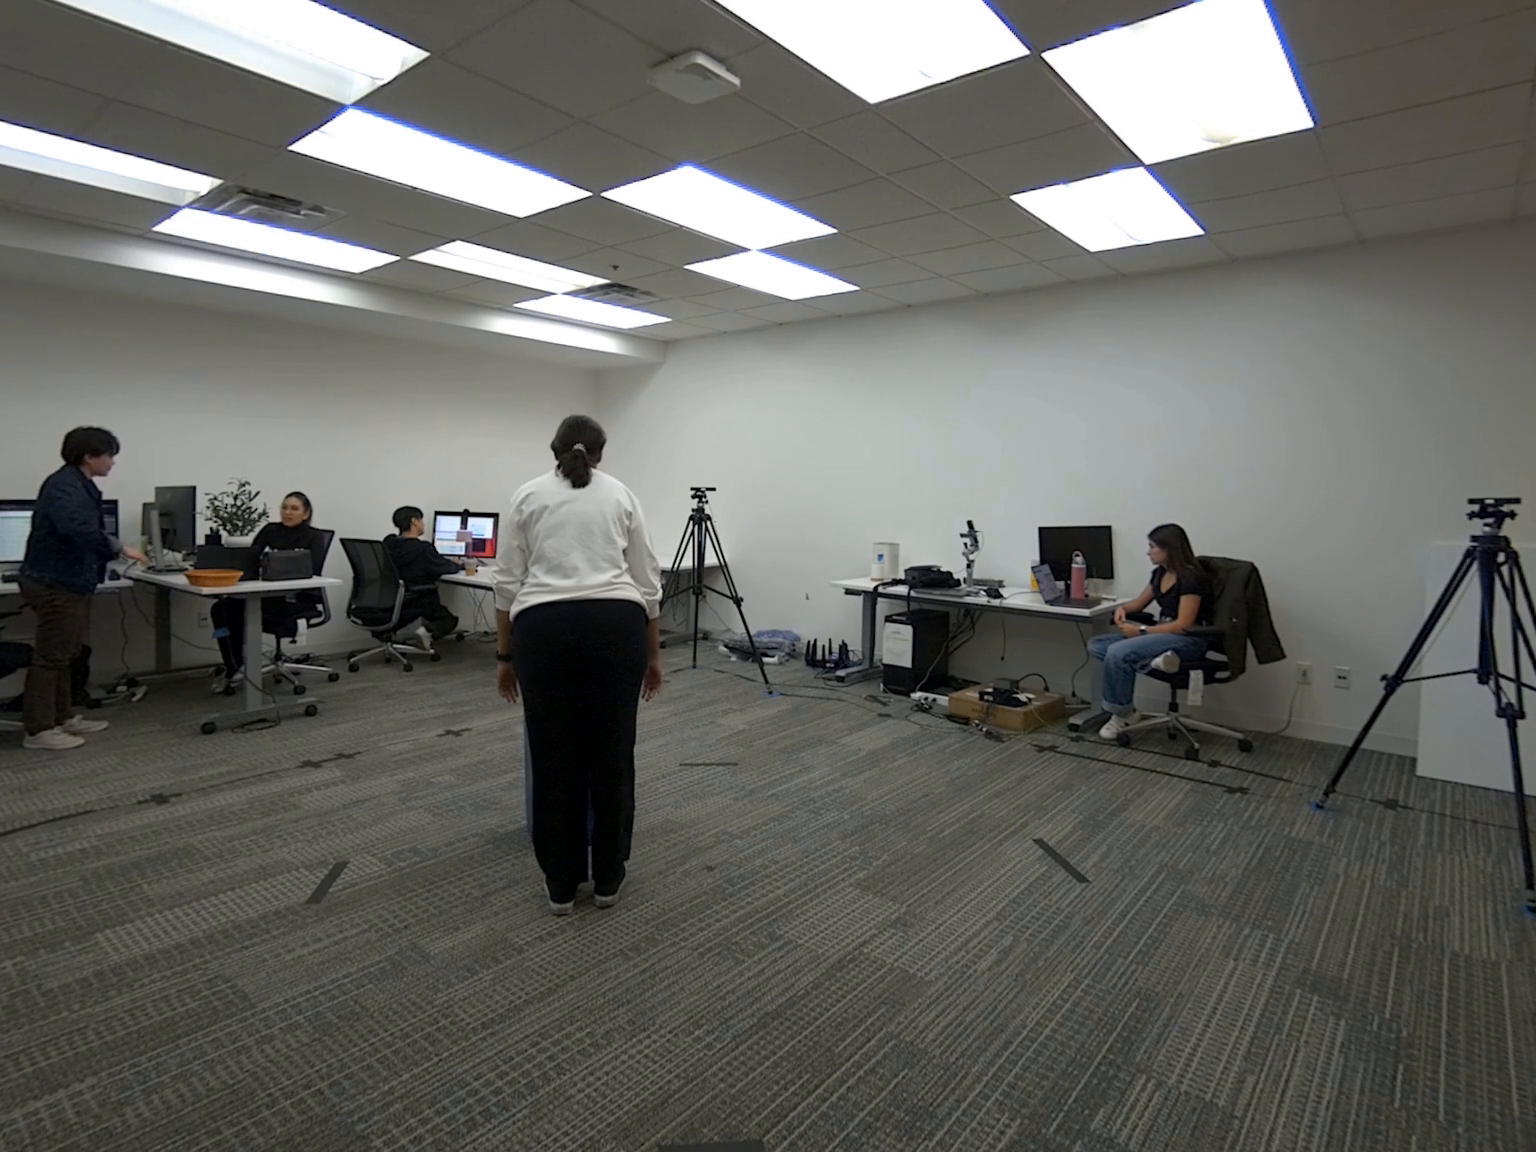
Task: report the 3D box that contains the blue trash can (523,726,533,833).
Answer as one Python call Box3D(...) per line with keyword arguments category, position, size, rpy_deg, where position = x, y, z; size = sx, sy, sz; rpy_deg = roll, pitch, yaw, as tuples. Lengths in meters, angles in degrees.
Box3D(category="blue trash can", position=(-0.802, 0.667, 3.395), size=(0.370, 0.712, 0.383), rpy_deg=(0, 3, -21))
